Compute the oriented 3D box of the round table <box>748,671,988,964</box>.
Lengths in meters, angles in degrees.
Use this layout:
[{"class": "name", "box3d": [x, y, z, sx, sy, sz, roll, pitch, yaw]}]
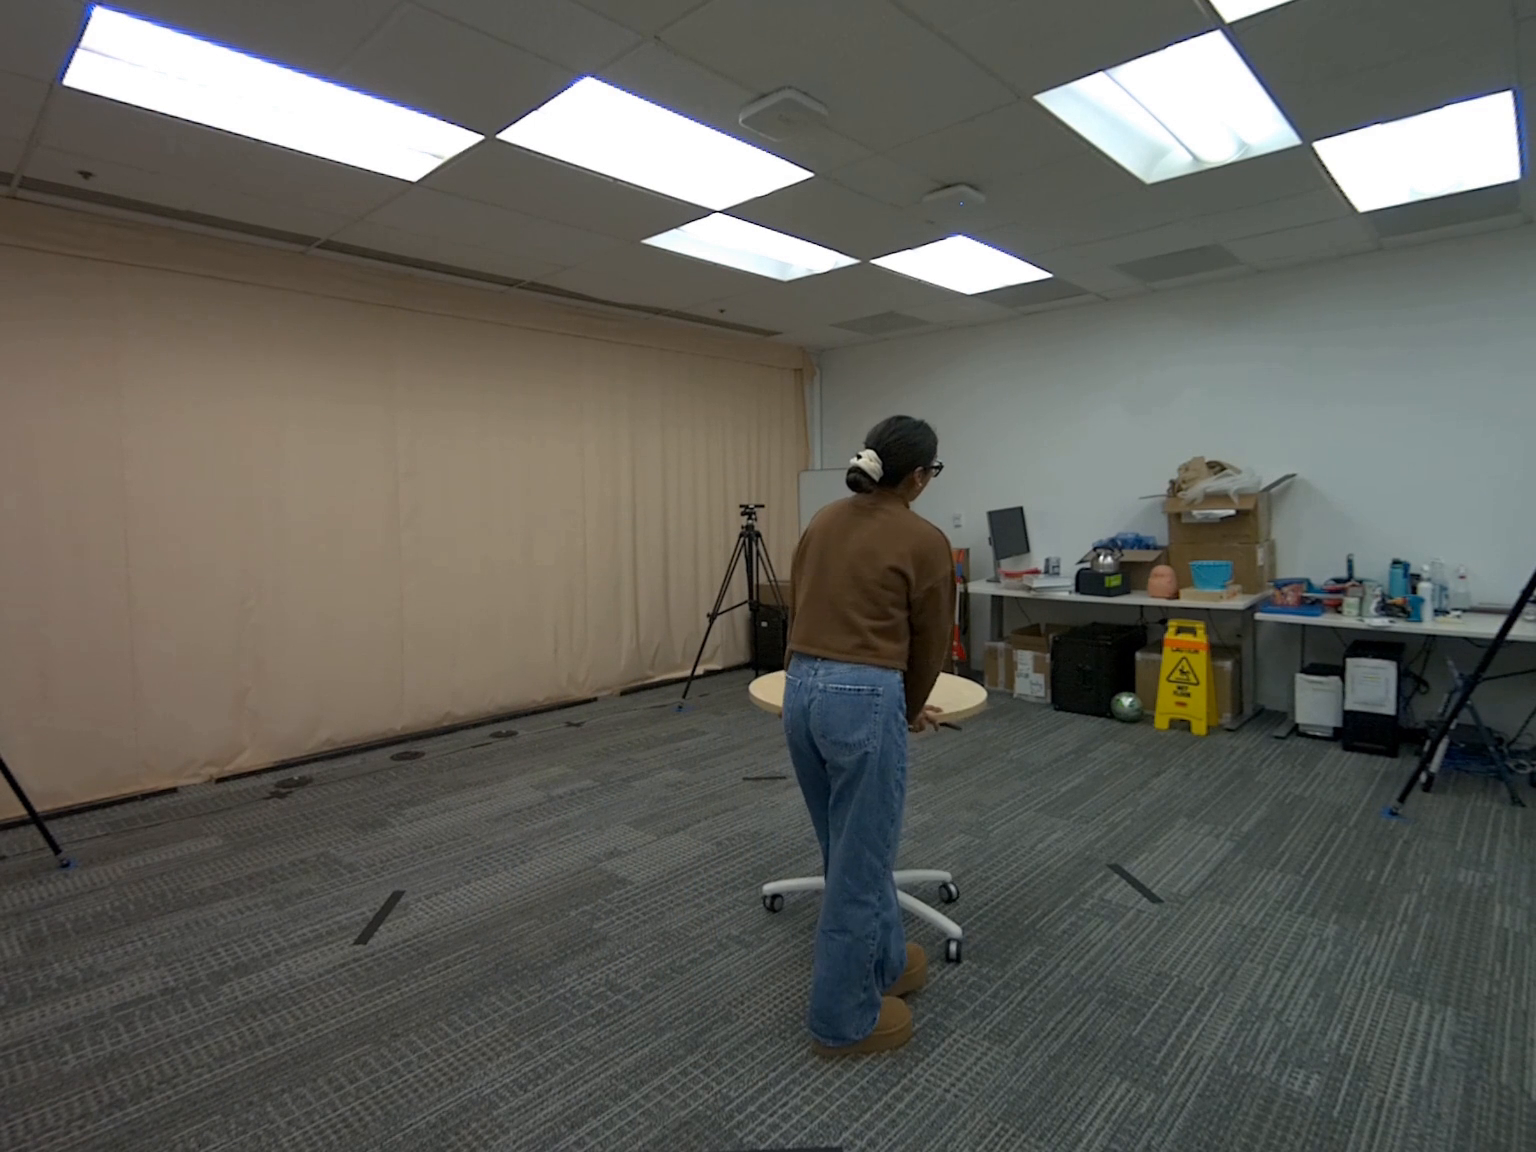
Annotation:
[{"class": "round table", "box3d": [0.350, 0.756, 2.793, 0.784, 0.784, 0.788, -1, 5, -2]}]
